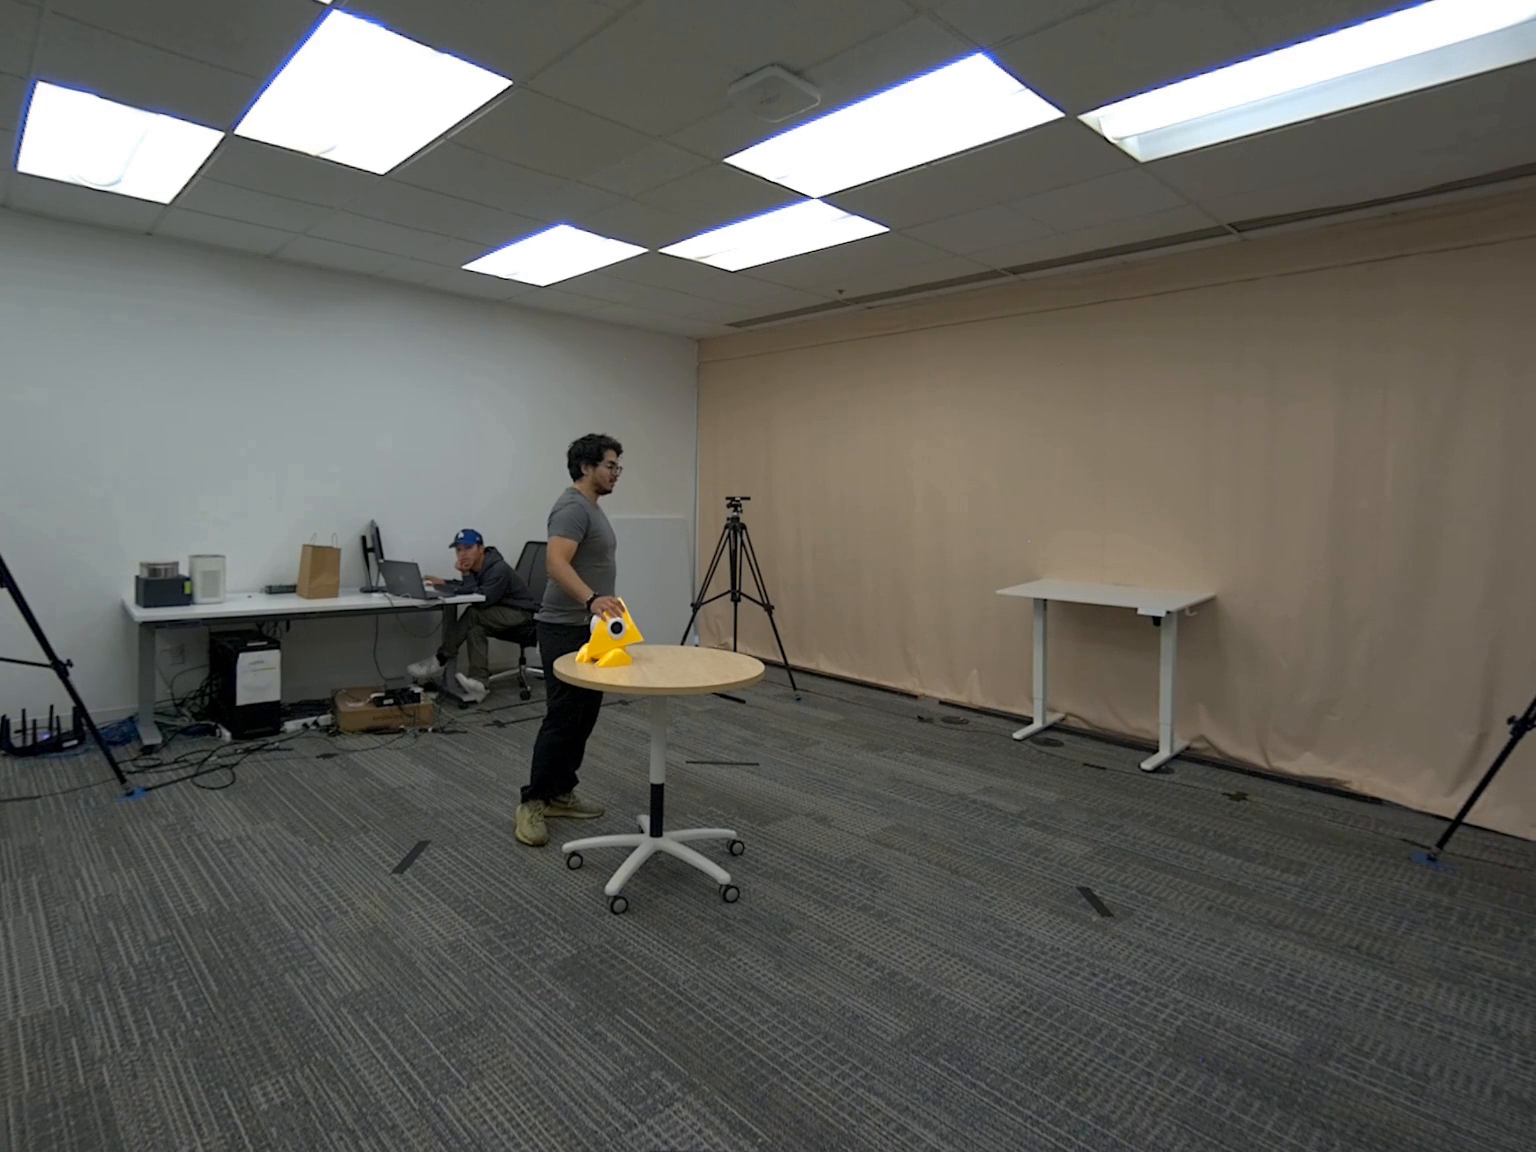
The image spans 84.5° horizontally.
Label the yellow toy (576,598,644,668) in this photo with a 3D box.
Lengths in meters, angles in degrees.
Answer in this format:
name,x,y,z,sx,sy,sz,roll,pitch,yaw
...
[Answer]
name,x,y,z,sx,sy,sz,roll,pitch,yaw
yellow toy,-0.597,0.201,3.086,0.210,0.230,0.189,5,6,38
